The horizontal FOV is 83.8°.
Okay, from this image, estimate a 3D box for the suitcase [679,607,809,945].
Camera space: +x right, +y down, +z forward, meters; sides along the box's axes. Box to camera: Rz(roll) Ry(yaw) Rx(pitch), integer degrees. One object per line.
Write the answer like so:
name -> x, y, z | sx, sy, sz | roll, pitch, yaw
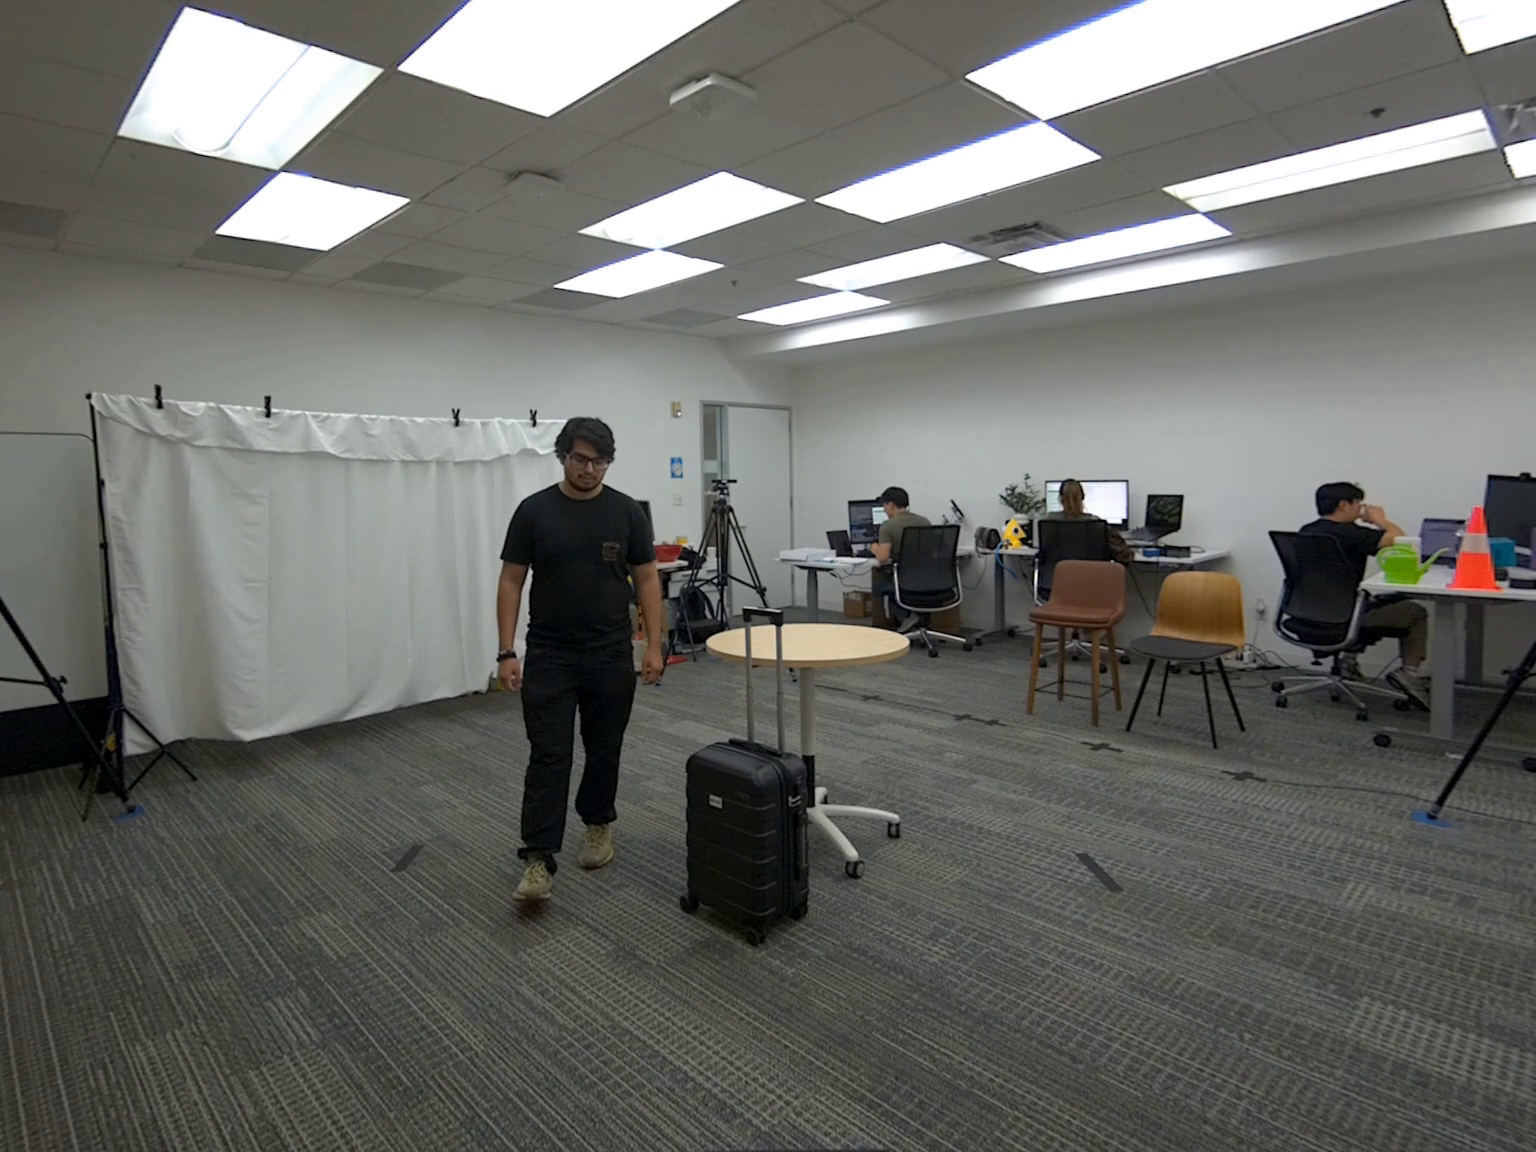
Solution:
suitcase -> -0.073, 0.614, 2.701 | 0.396, 0.974, 0.250 | 3, 7, 41
